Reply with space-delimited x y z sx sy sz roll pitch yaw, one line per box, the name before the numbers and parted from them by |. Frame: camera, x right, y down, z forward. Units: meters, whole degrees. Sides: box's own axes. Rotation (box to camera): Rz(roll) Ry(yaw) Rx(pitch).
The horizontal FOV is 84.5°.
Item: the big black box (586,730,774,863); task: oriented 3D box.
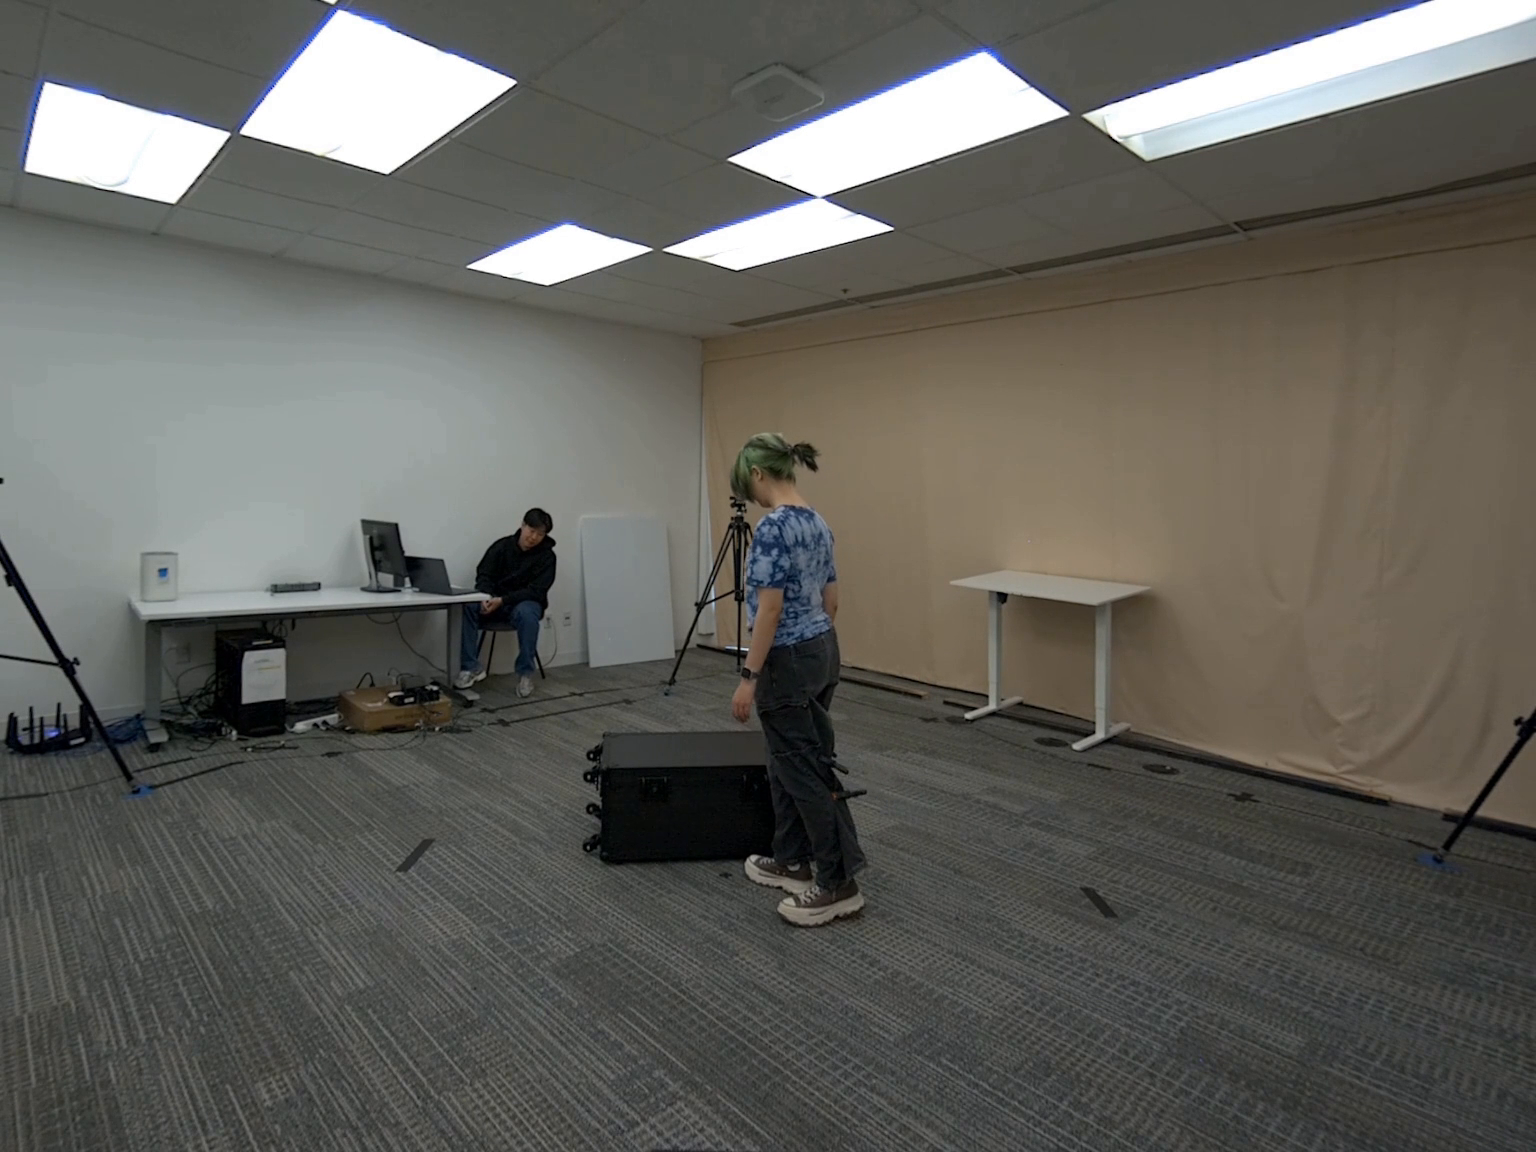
big black box | -0.258 0.879 3.427 0.856 0.395 0.526 0 5 -8
